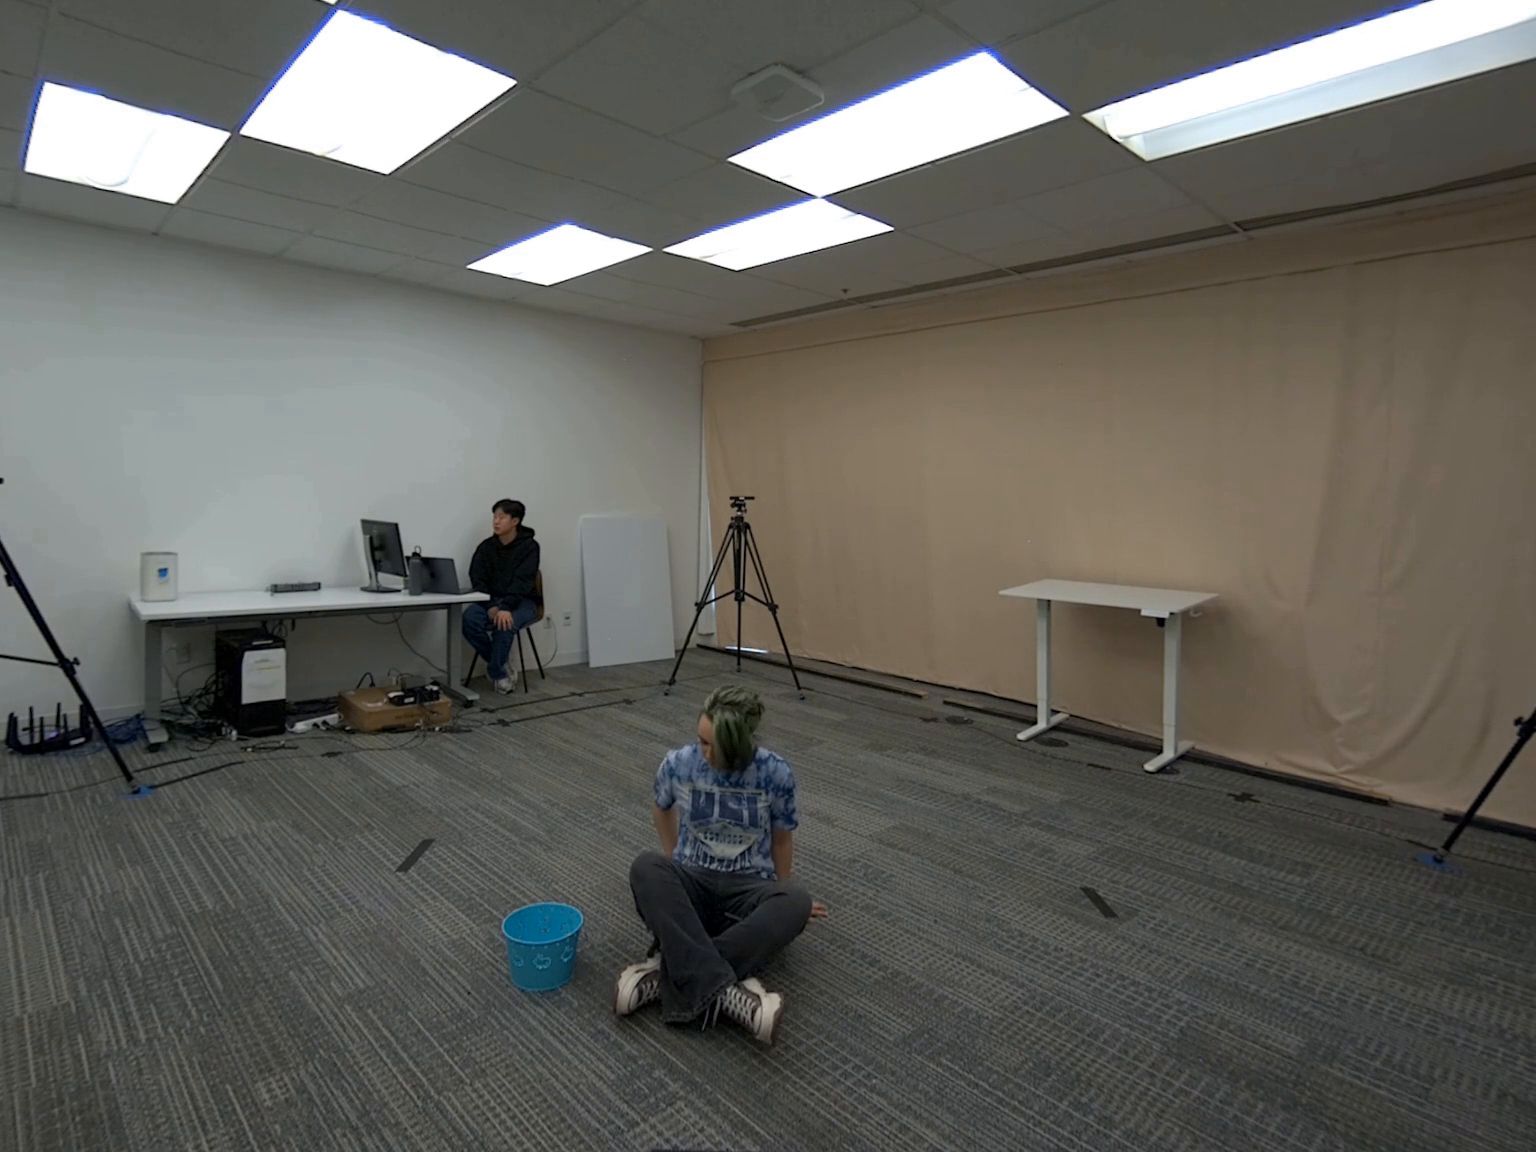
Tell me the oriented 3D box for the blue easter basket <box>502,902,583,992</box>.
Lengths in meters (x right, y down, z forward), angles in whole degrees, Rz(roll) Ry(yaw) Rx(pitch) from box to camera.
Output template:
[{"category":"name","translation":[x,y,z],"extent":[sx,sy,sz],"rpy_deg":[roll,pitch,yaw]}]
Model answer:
[{"category":"blue easter basket","translation":[-0.655,1.071,2.439],"extent":[0.243,0.155,0.244],"rpy_deg":[1,5,-1]}]
